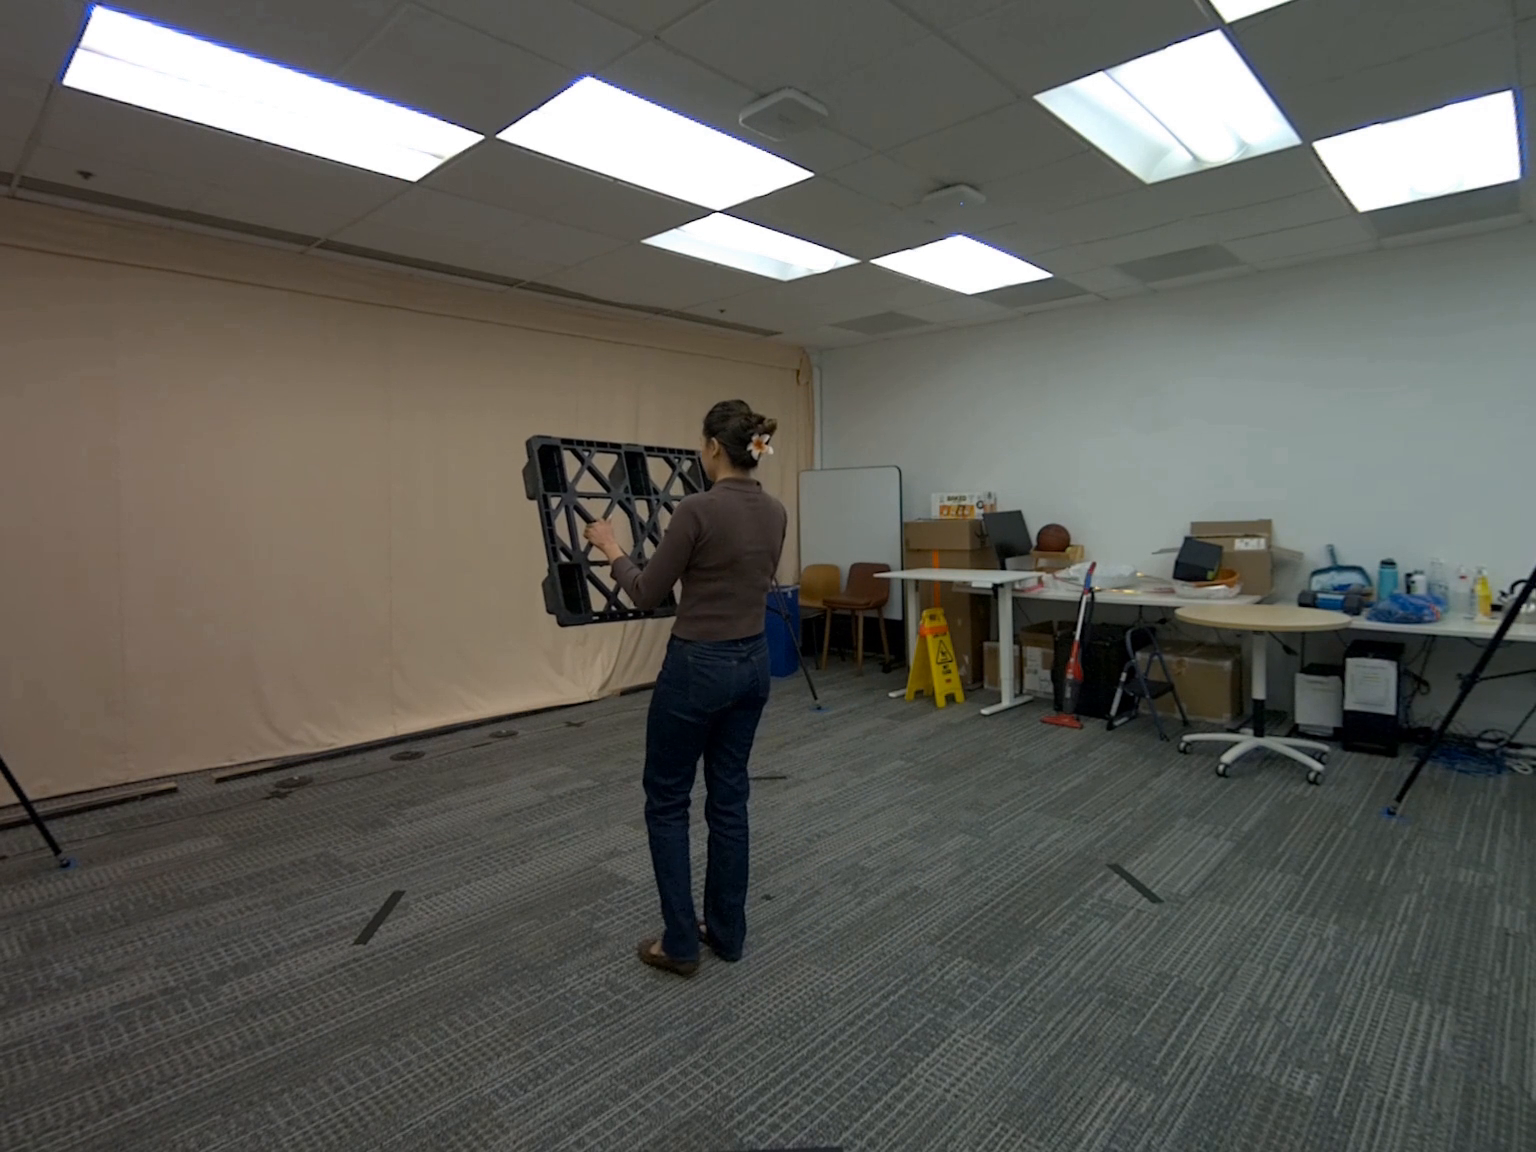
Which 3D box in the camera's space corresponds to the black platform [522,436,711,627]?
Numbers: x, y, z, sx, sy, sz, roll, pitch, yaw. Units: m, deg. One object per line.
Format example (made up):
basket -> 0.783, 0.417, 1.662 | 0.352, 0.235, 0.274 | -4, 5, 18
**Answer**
black platform -> -0.436, -0.146, 2.832 | 0.780, 0.611, 0.146 | -2, -16, -45
